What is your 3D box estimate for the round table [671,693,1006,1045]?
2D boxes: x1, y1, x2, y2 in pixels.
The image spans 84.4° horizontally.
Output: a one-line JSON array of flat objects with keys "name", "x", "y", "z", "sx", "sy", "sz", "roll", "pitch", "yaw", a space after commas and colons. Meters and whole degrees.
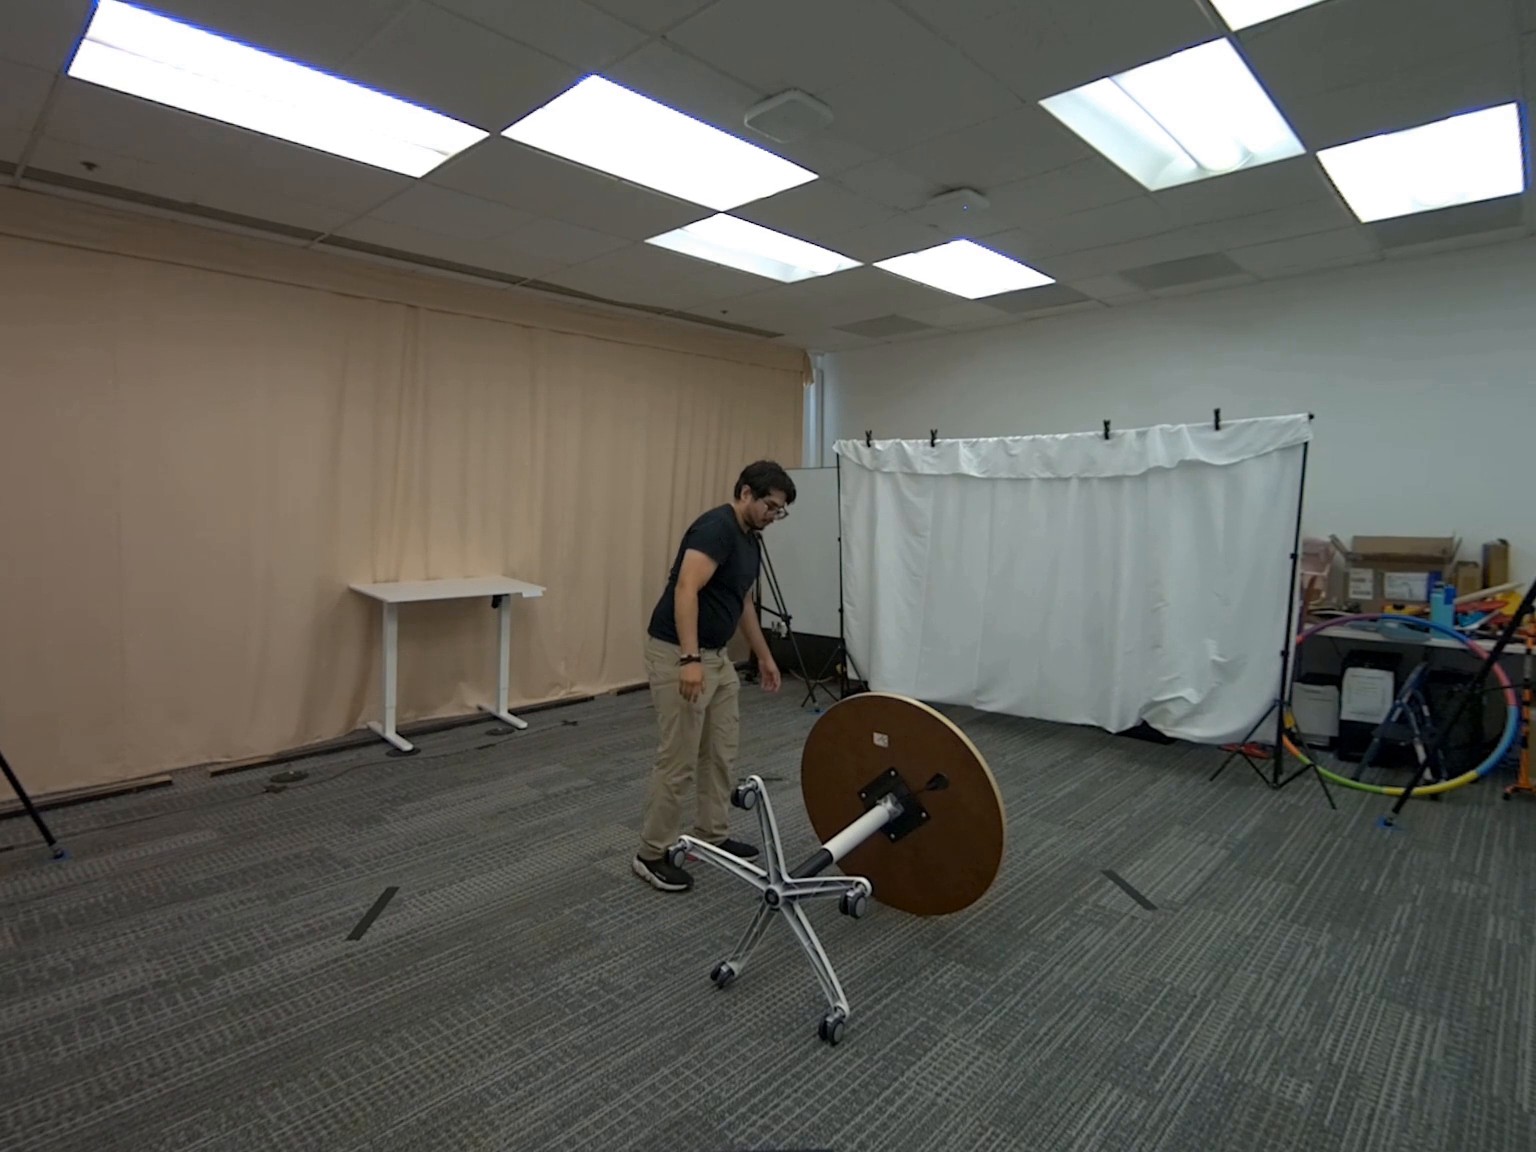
[{"name": "round table", "x": 0.211, "y": 0.831, "z": 2.563, "sx": 0.811, "sy": 0.780, "sz": 0.766, "roll": 3, "pitch": 11, "yaw": 38}]
